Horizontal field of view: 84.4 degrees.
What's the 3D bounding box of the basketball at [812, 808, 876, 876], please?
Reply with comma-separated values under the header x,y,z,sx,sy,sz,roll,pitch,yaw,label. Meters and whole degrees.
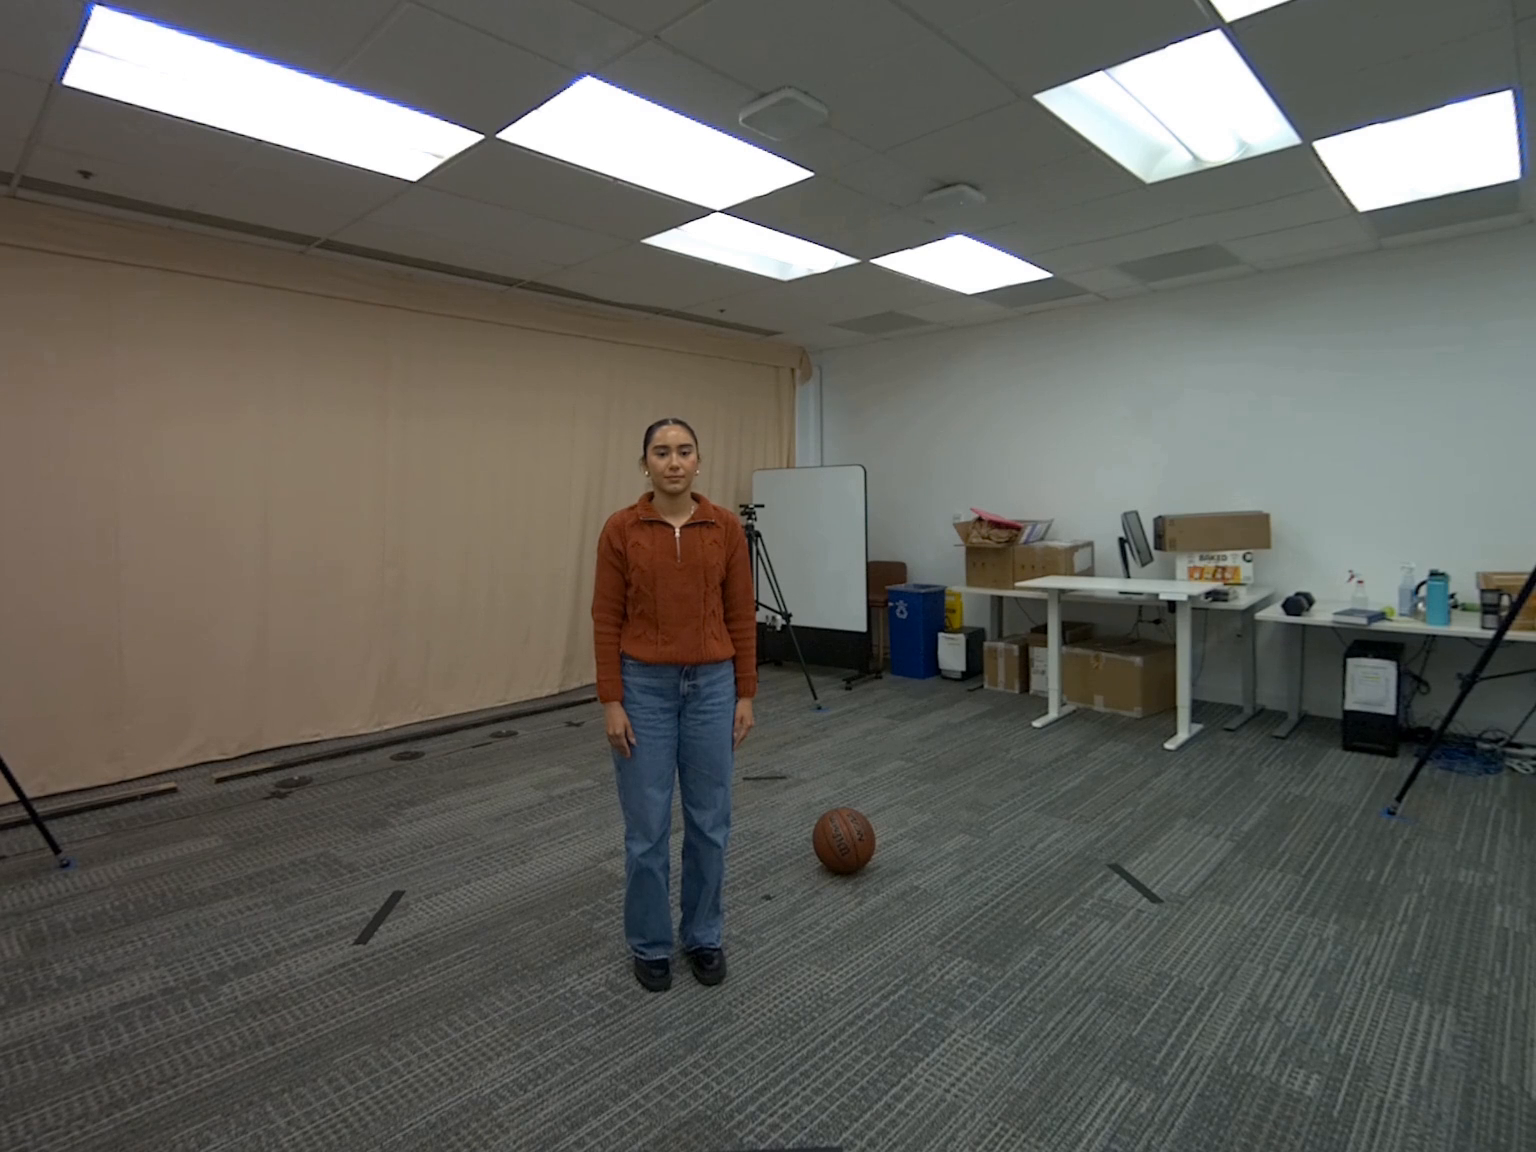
x,y,z,sx,sy,sz,roll,pitch,yaw,label
0.294,0.991,3.177,0.236,0.235,0.237,-1,4,-2,basketball
